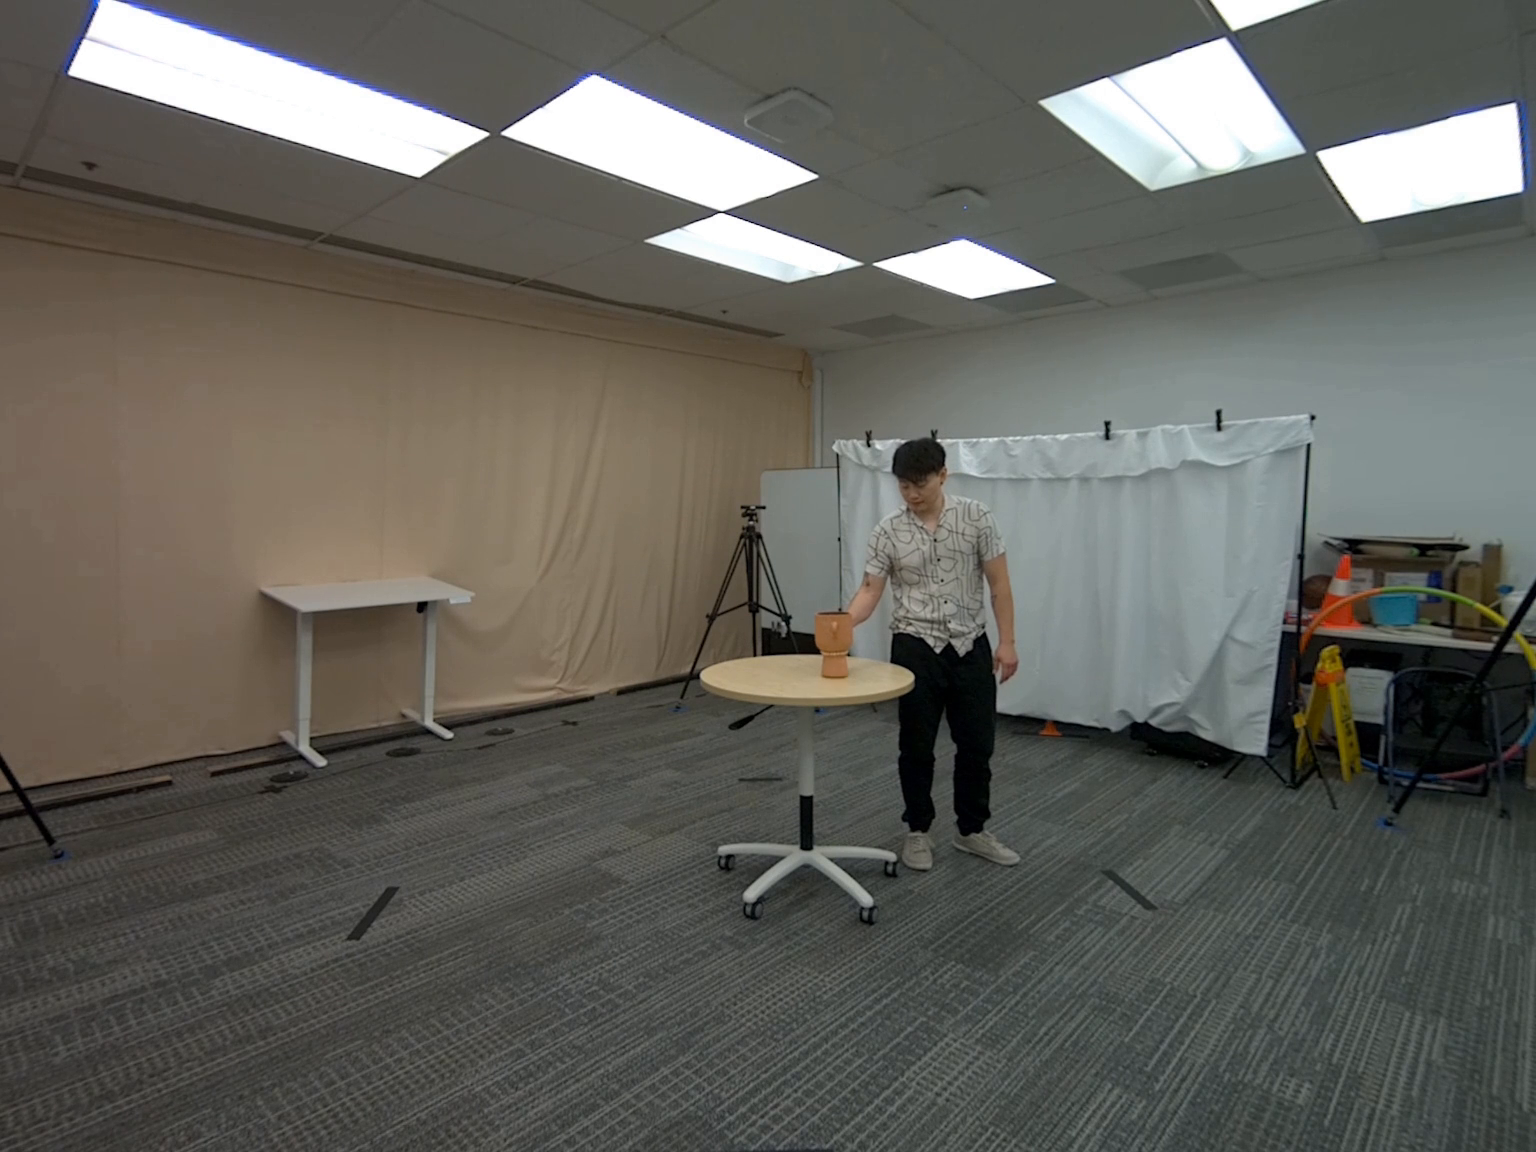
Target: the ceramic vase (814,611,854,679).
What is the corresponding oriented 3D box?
[{"bbox_3d":[0.243,0.244,2.990,0.139,0.219,0.154,1,2,43],"label":"ceramic vase"}]
